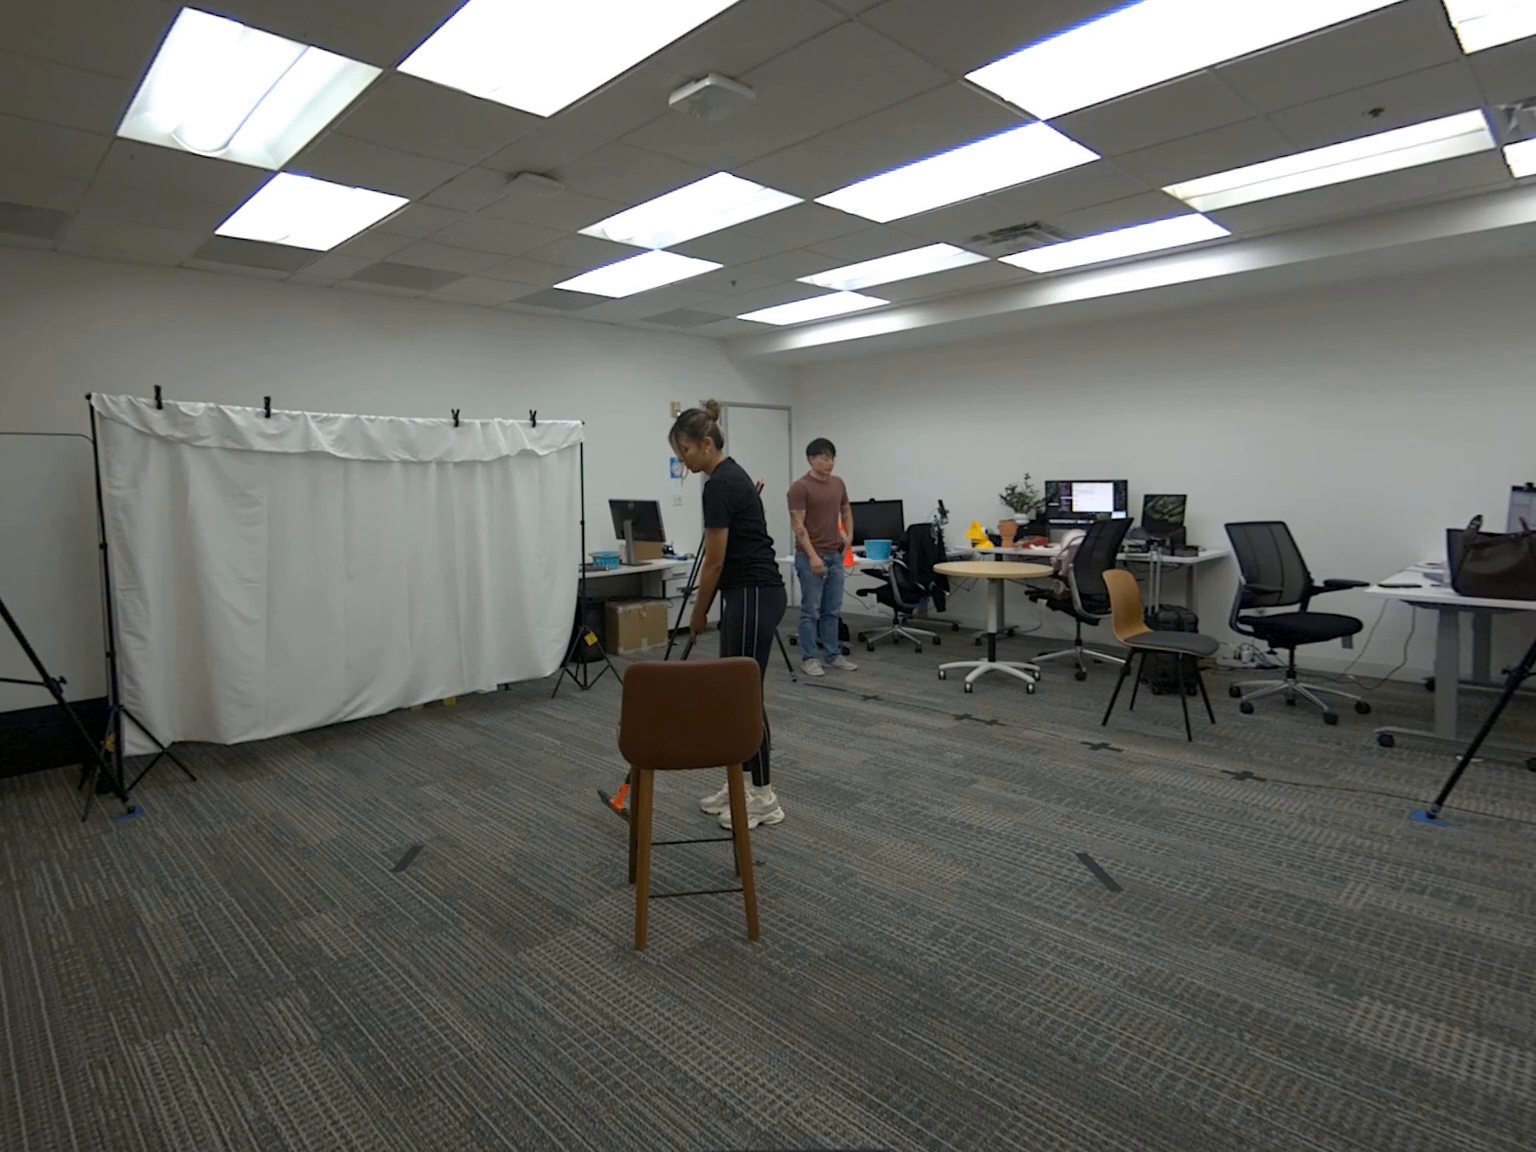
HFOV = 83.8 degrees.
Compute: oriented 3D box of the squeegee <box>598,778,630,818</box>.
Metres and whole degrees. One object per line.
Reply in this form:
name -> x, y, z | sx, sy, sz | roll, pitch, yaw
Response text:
squeegee -> -0.342, 0.280, 3.612 | 0.051, 1.546, 0.448 | 31, -15, -27
